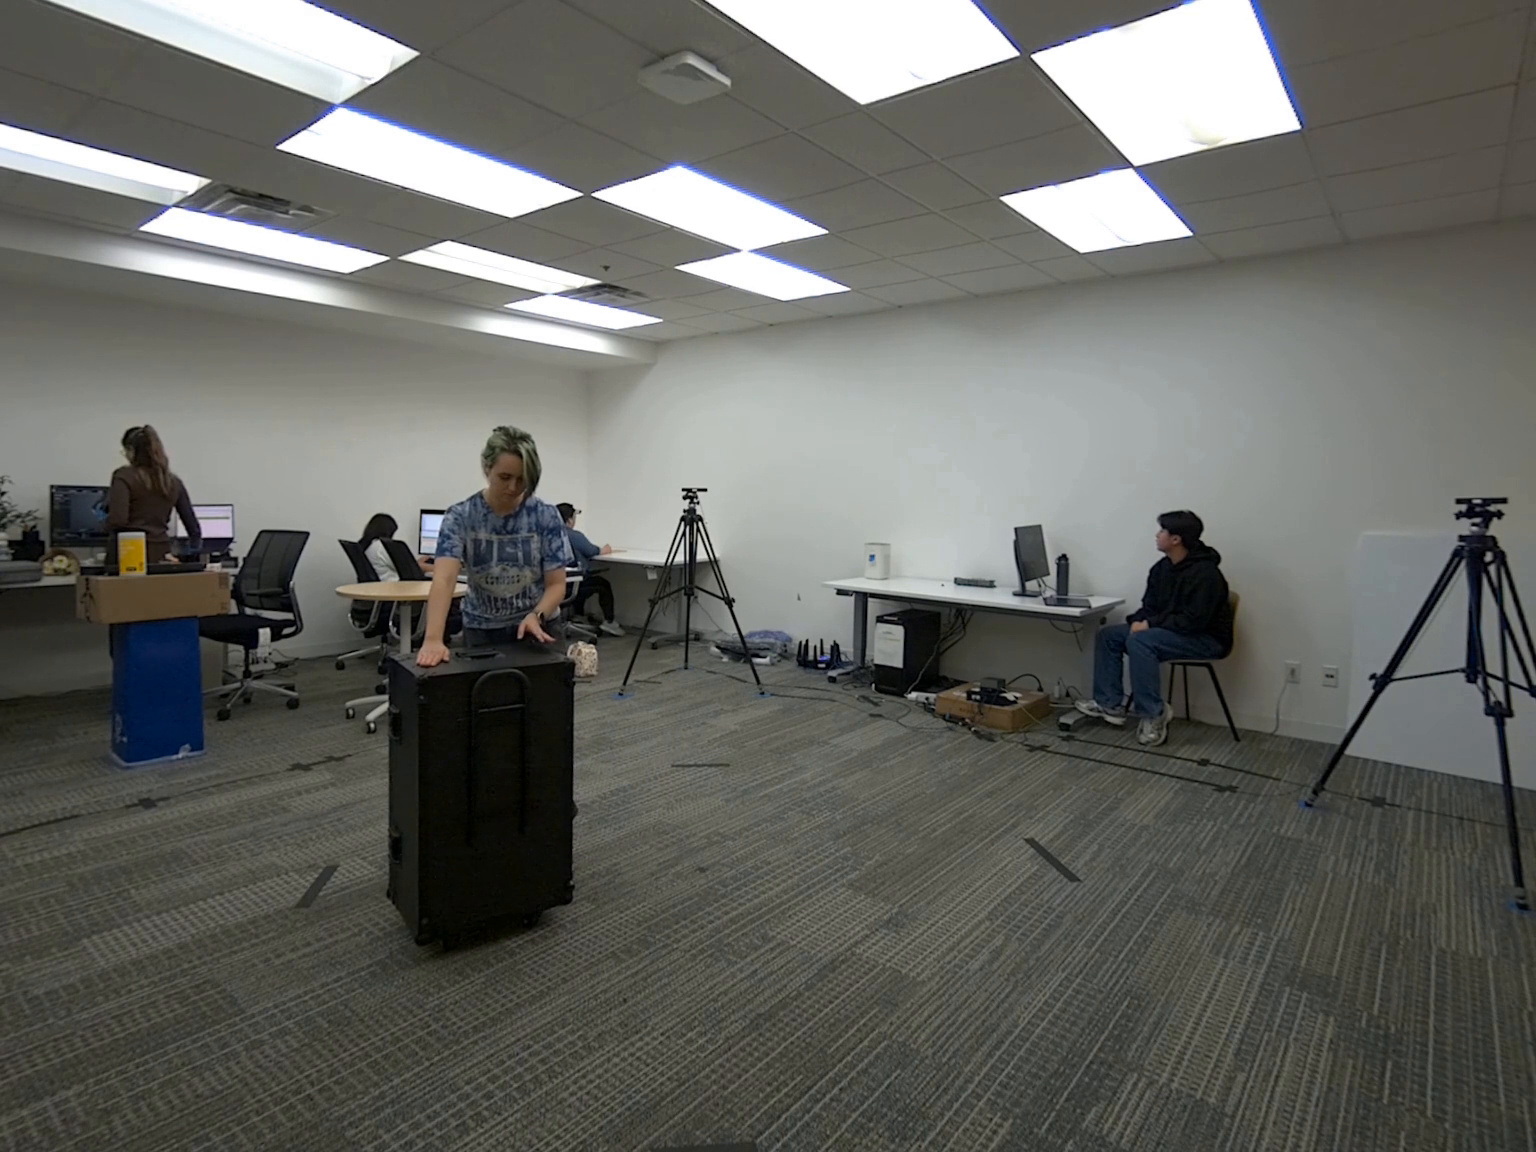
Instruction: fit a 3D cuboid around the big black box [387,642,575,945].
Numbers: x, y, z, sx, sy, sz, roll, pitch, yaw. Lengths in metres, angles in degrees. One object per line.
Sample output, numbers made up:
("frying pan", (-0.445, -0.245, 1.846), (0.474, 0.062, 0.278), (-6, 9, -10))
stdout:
("big black box", (-0.908, 0.680, 2.681), (0.506, 0.858, 0.410), (-2, 6, -36))
